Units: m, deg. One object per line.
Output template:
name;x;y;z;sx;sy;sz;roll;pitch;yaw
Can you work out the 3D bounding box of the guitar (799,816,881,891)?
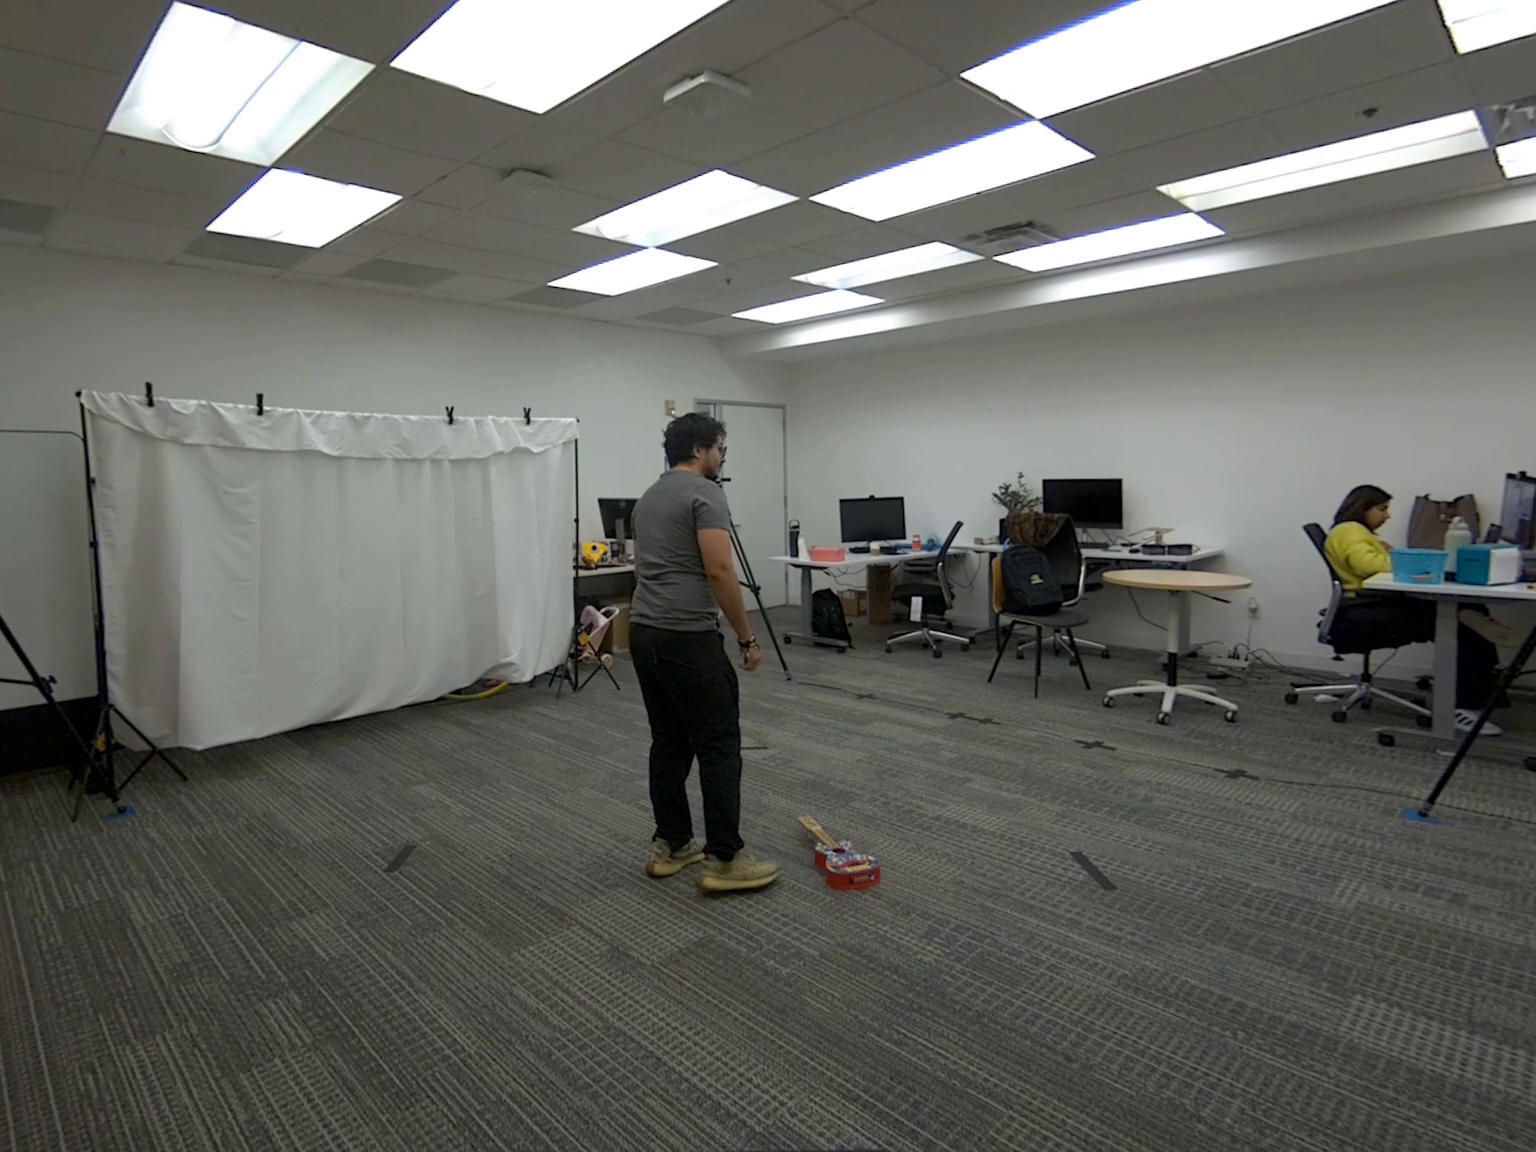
guitar;0.253;0.997;3.135;0.191;0.070;0.505;-2;7;-11
